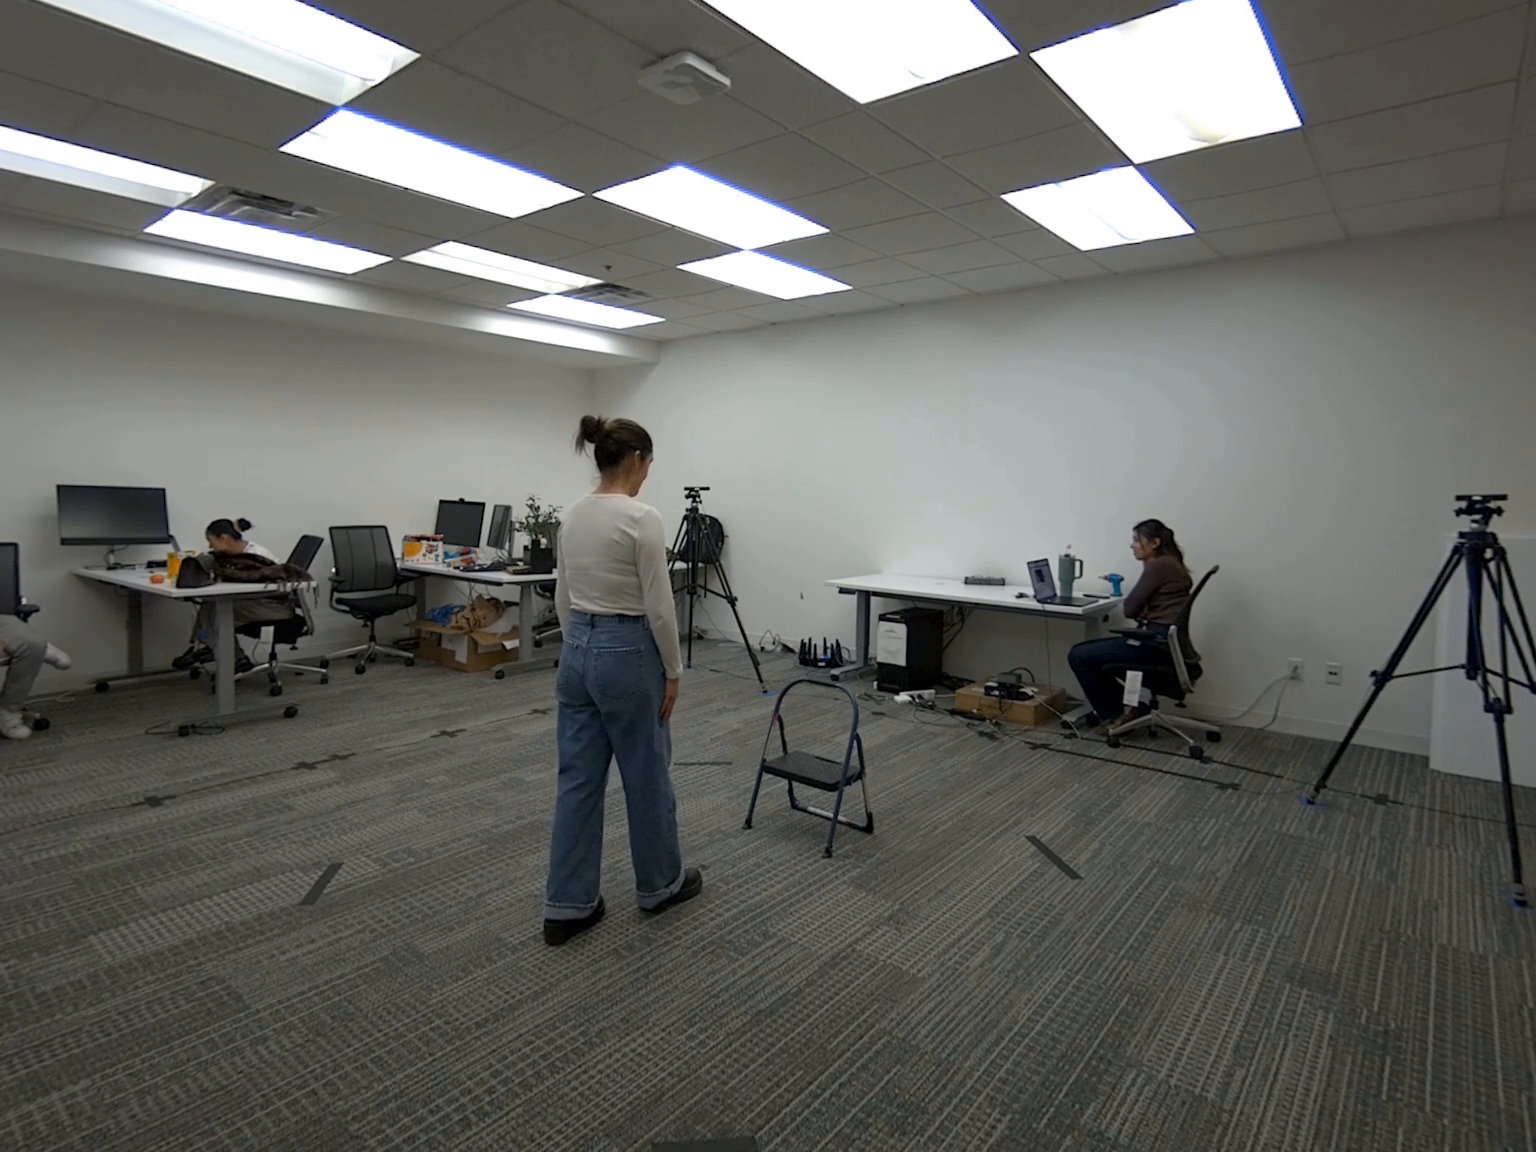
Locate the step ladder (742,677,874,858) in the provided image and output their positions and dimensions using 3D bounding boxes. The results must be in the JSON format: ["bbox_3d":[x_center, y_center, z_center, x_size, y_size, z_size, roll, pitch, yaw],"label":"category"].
[{"bbox_3d":[0.166,0.734,3.461,0.445,0.604,0.339,4,4,39],"label":"step ladder"}]
